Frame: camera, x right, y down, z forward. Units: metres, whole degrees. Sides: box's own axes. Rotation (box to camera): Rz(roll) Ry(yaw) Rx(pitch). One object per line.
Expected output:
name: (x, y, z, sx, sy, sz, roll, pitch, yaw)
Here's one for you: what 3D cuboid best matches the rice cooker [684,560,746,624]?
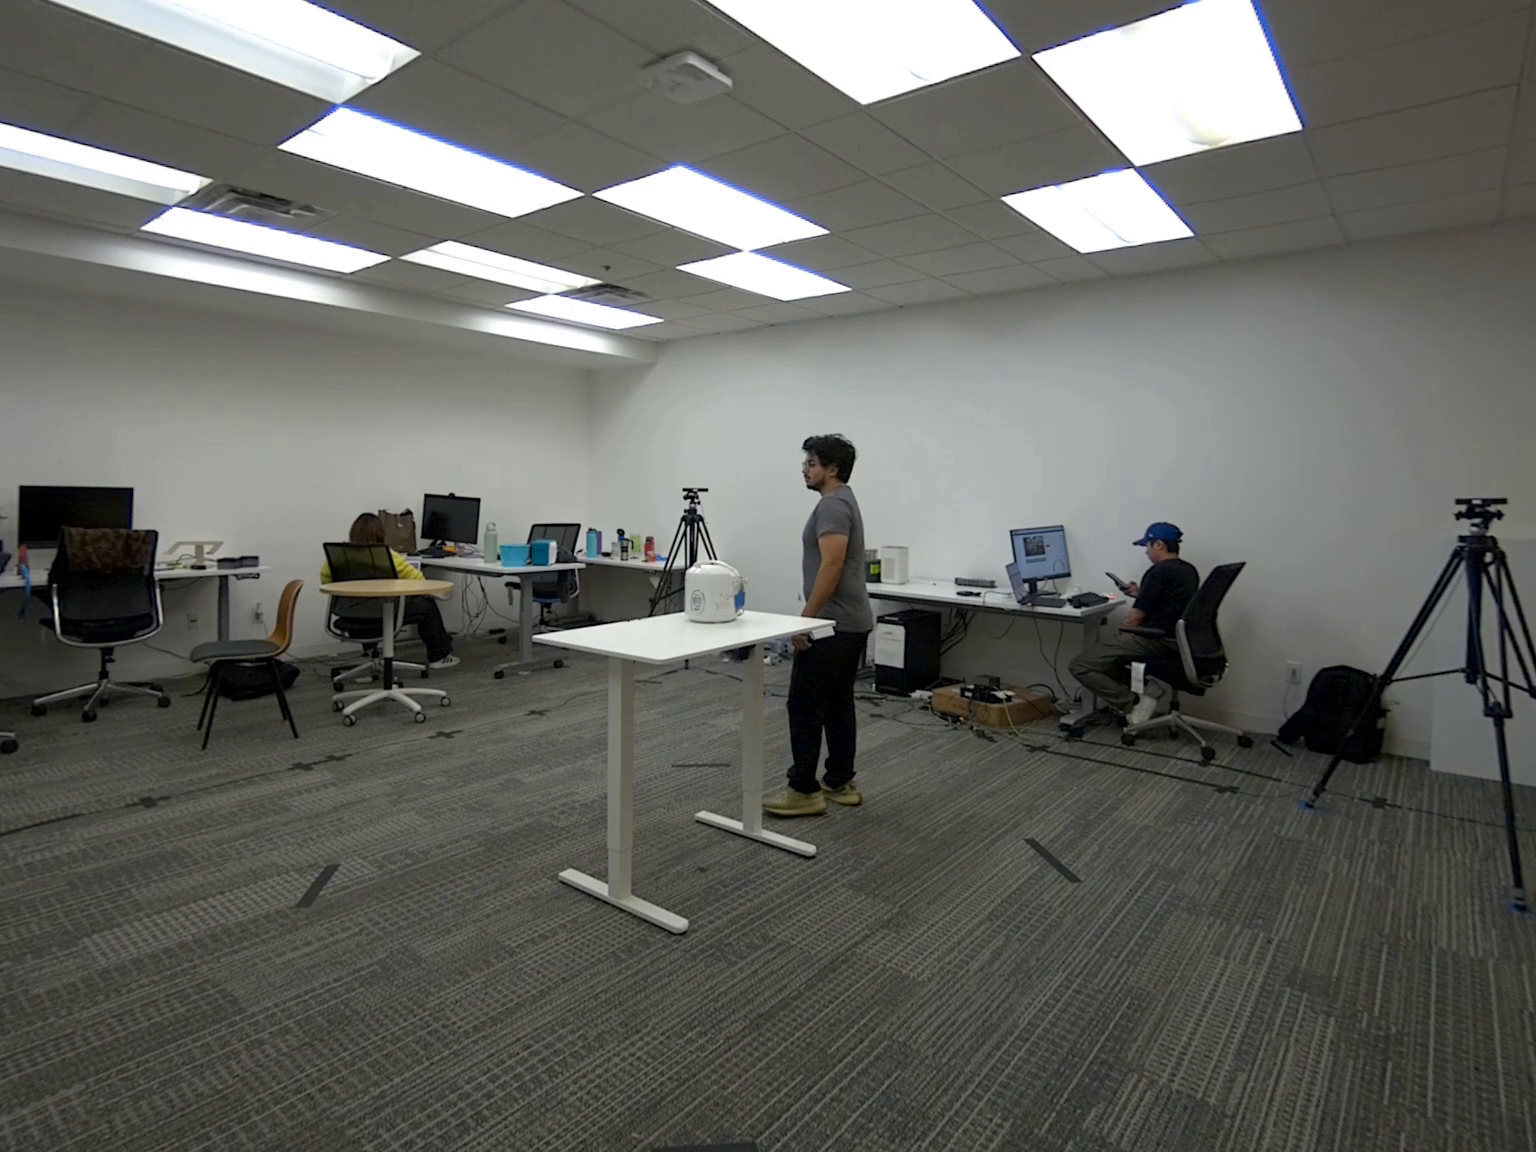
rice cooker: (-0.222, 0.053, 3.280, 0.227, 0.232, 0.212, 3, 3, 28)
